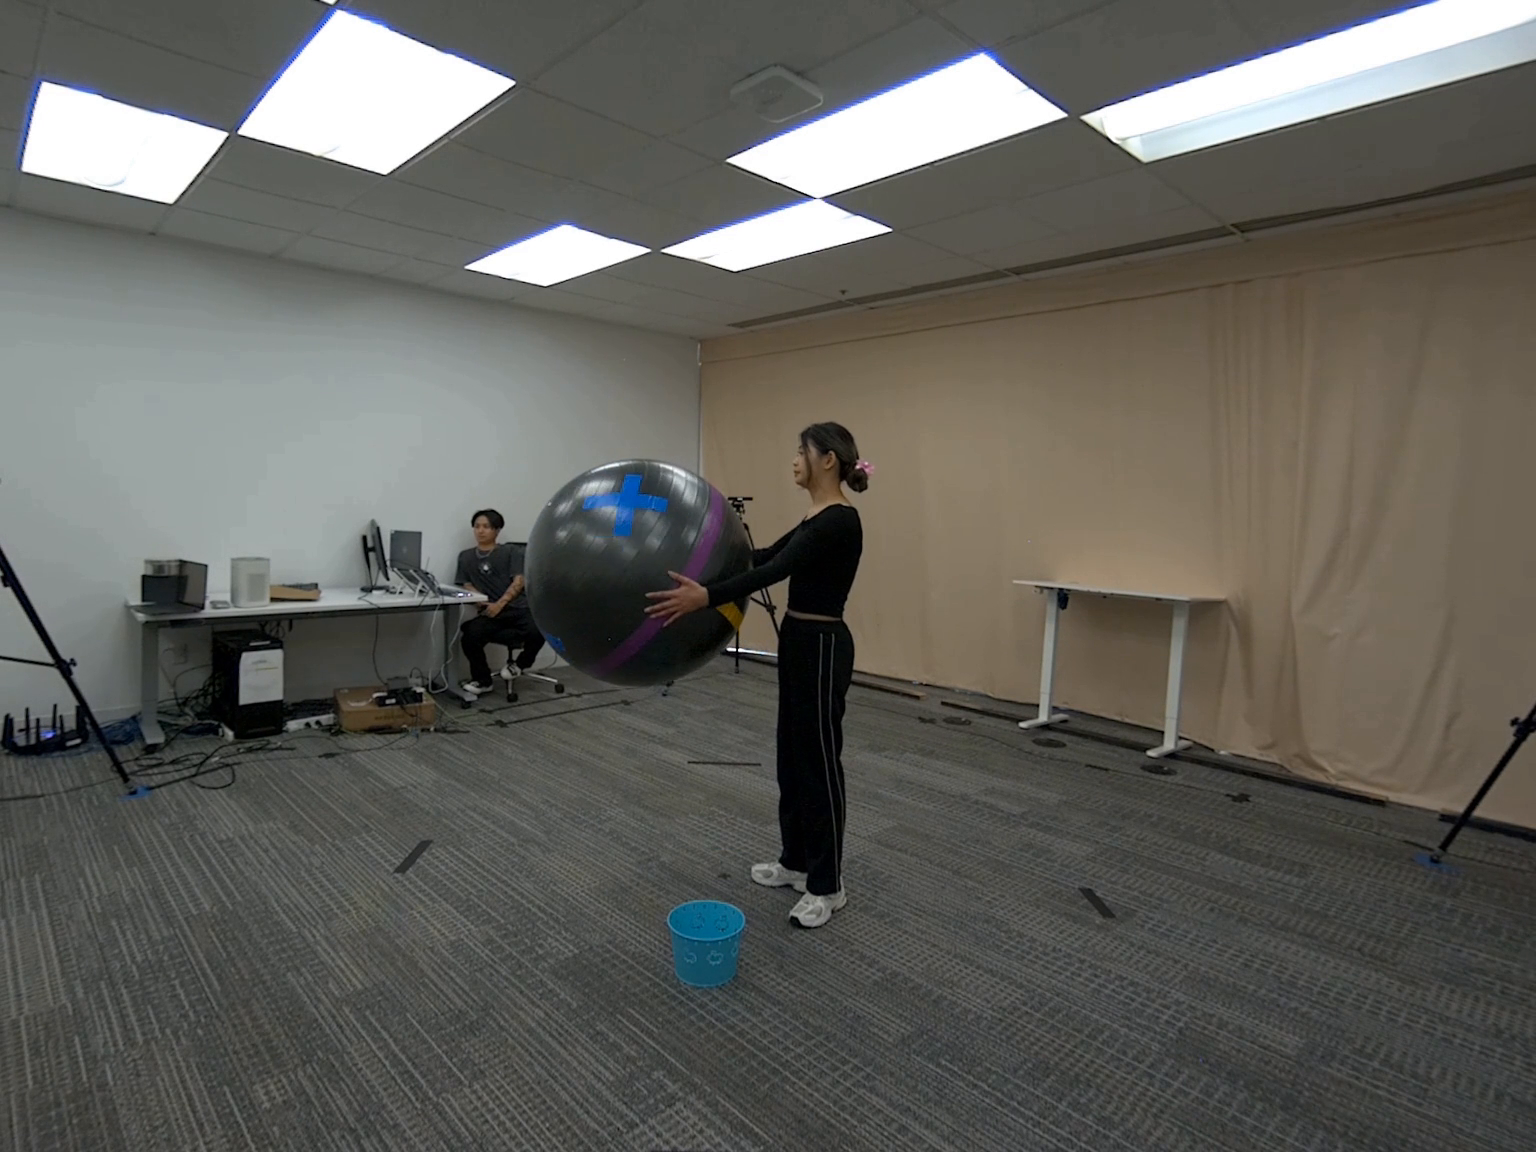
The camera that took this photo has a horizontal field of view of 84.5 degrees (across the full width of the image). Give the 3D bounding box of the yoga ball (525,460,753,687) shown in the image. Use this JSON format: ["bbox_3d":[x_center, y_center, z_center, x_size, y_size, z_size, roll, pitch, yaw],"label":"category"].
[{"bbox_3d":[-0.445,-0.006,2.810,0.757,0.756,0.761,1,4,-1],"label":"yoga ball"}]
